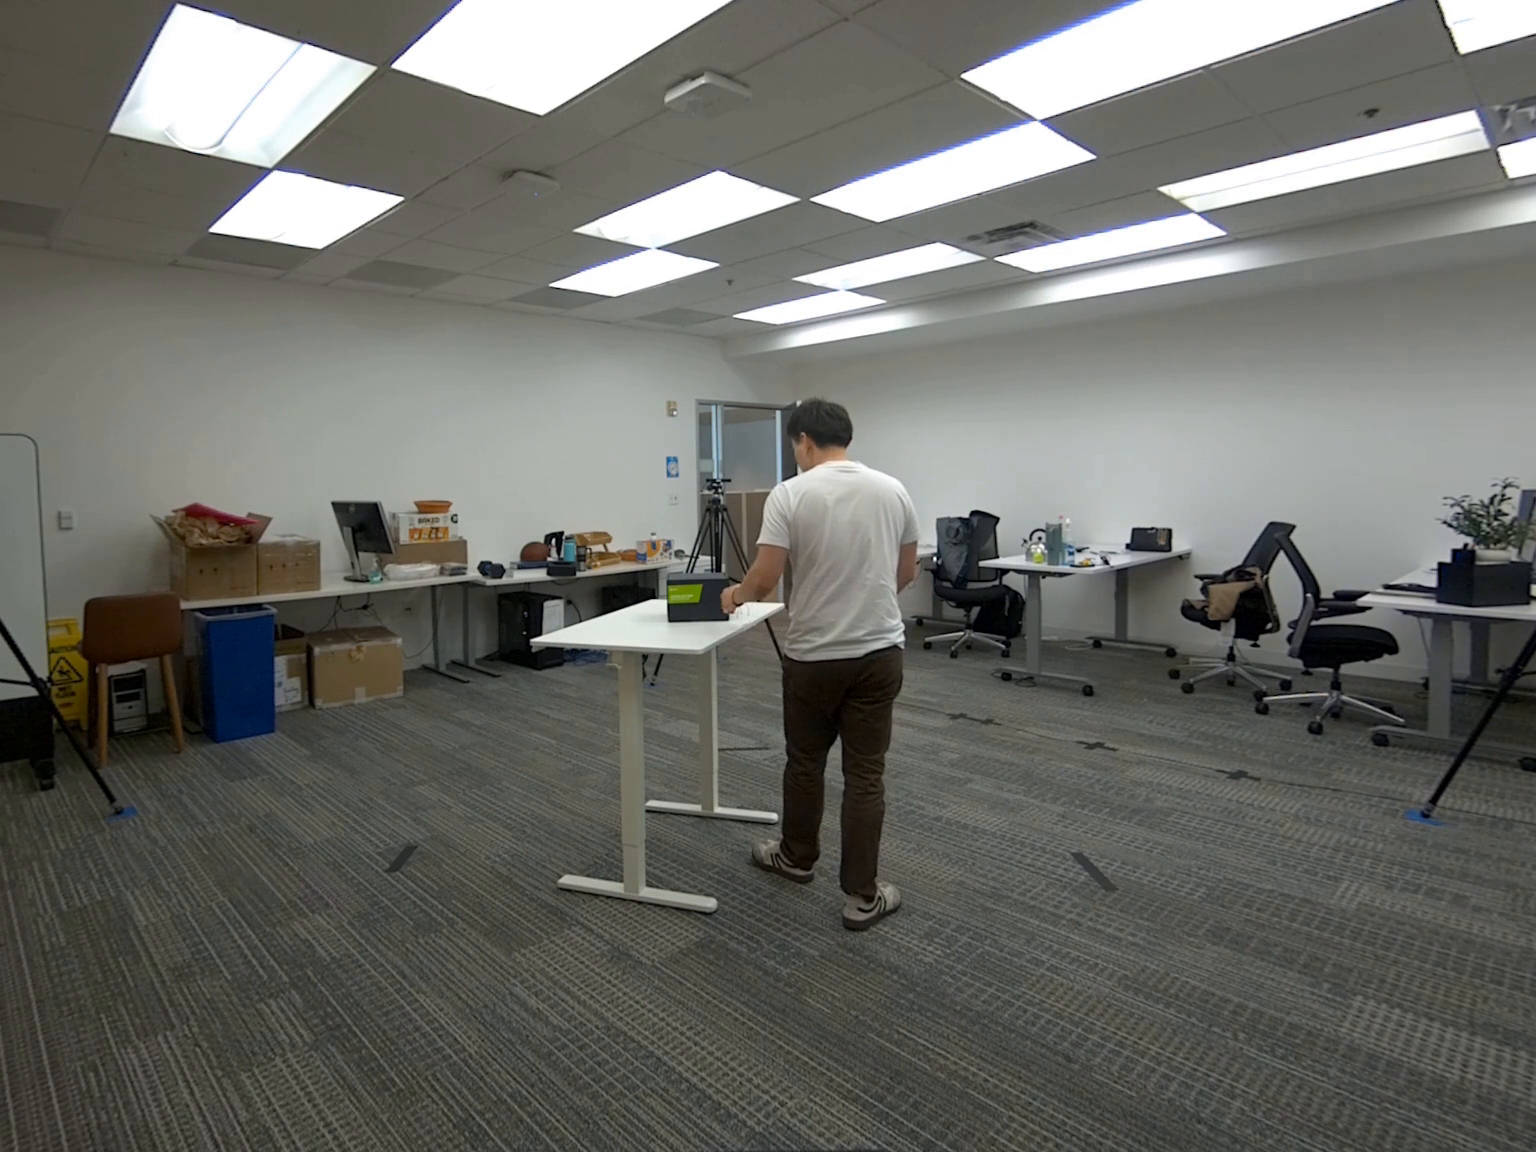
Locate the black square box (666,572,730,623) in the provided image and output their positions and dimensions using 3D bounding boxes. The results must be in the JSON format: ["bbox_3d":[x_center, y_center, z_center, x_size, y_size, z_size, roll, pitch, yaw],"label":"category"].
[{"bbox_3d":[-0.263,0.075,3.211,0.227,0.155,0.218,0,6,-2],"label":"black square box"}]
